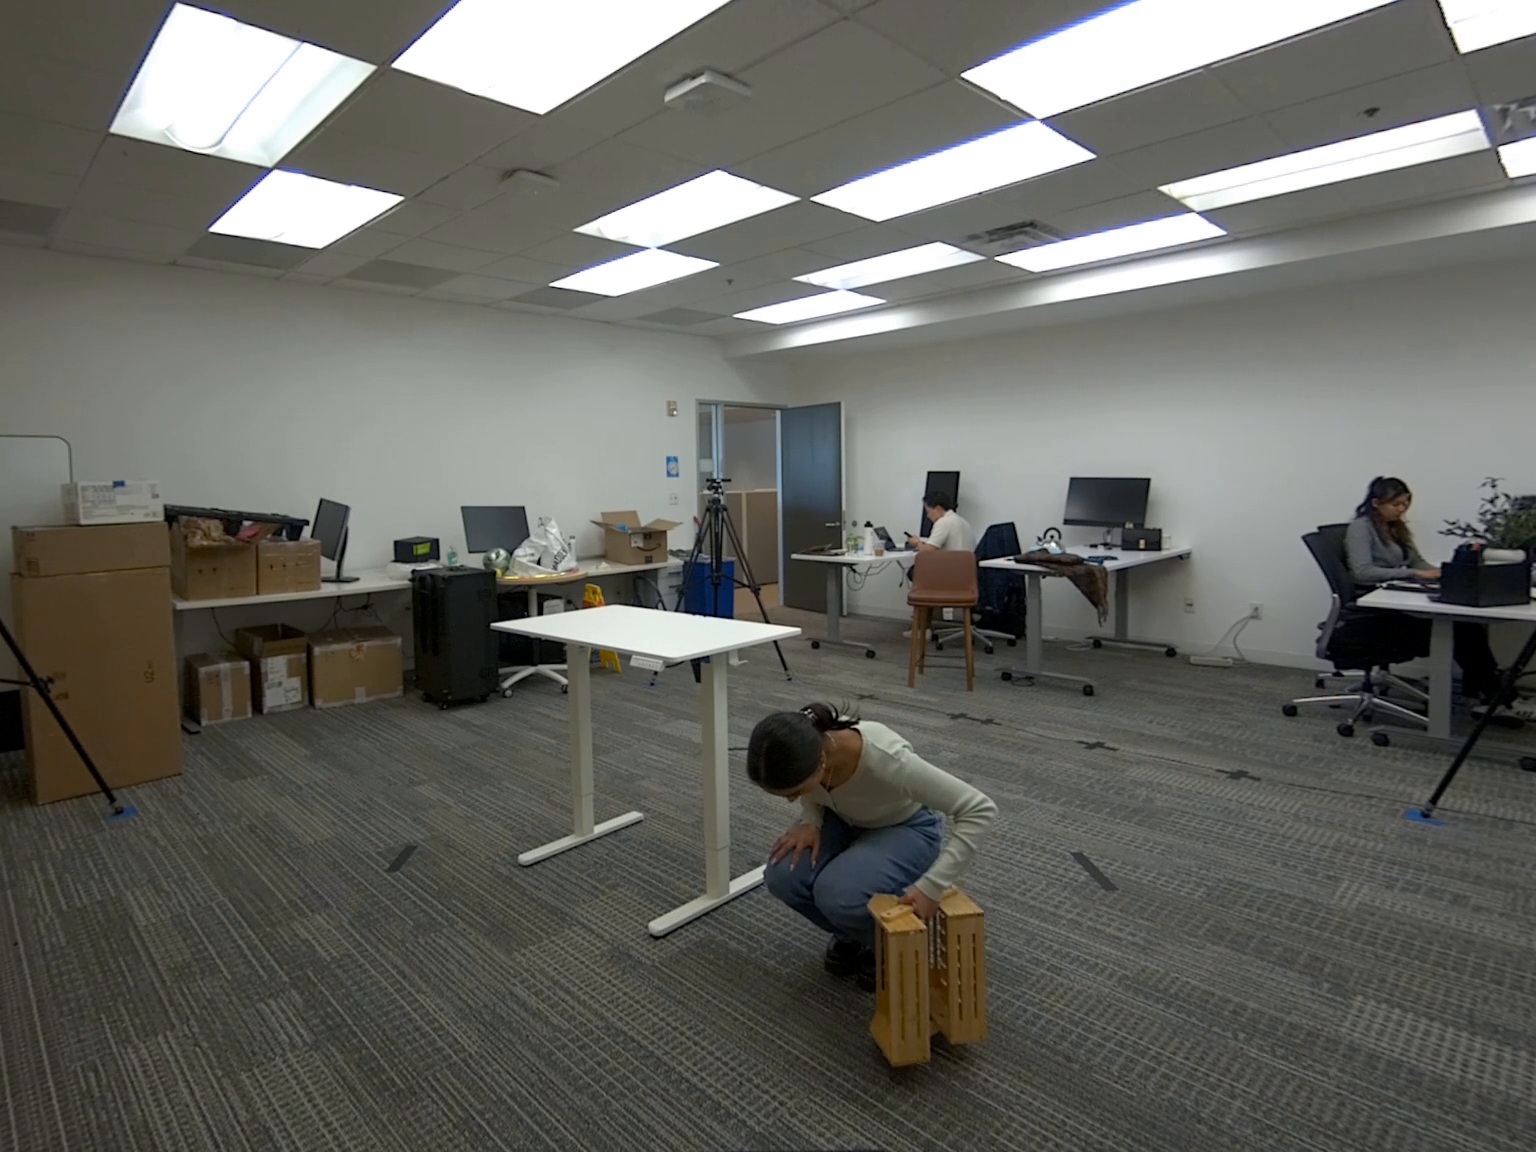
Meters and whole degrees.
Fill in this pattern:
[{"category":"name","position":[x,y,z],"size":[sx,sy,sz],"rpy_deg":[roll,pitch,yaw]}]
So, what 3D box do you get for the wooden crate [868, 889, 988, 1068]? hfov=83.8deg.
[{"category":"wooden crate","position":[0.379,0.963,2.083],"size":[0.270,0.324,0.305],"rpy_deg":[0,0,-11]}]
